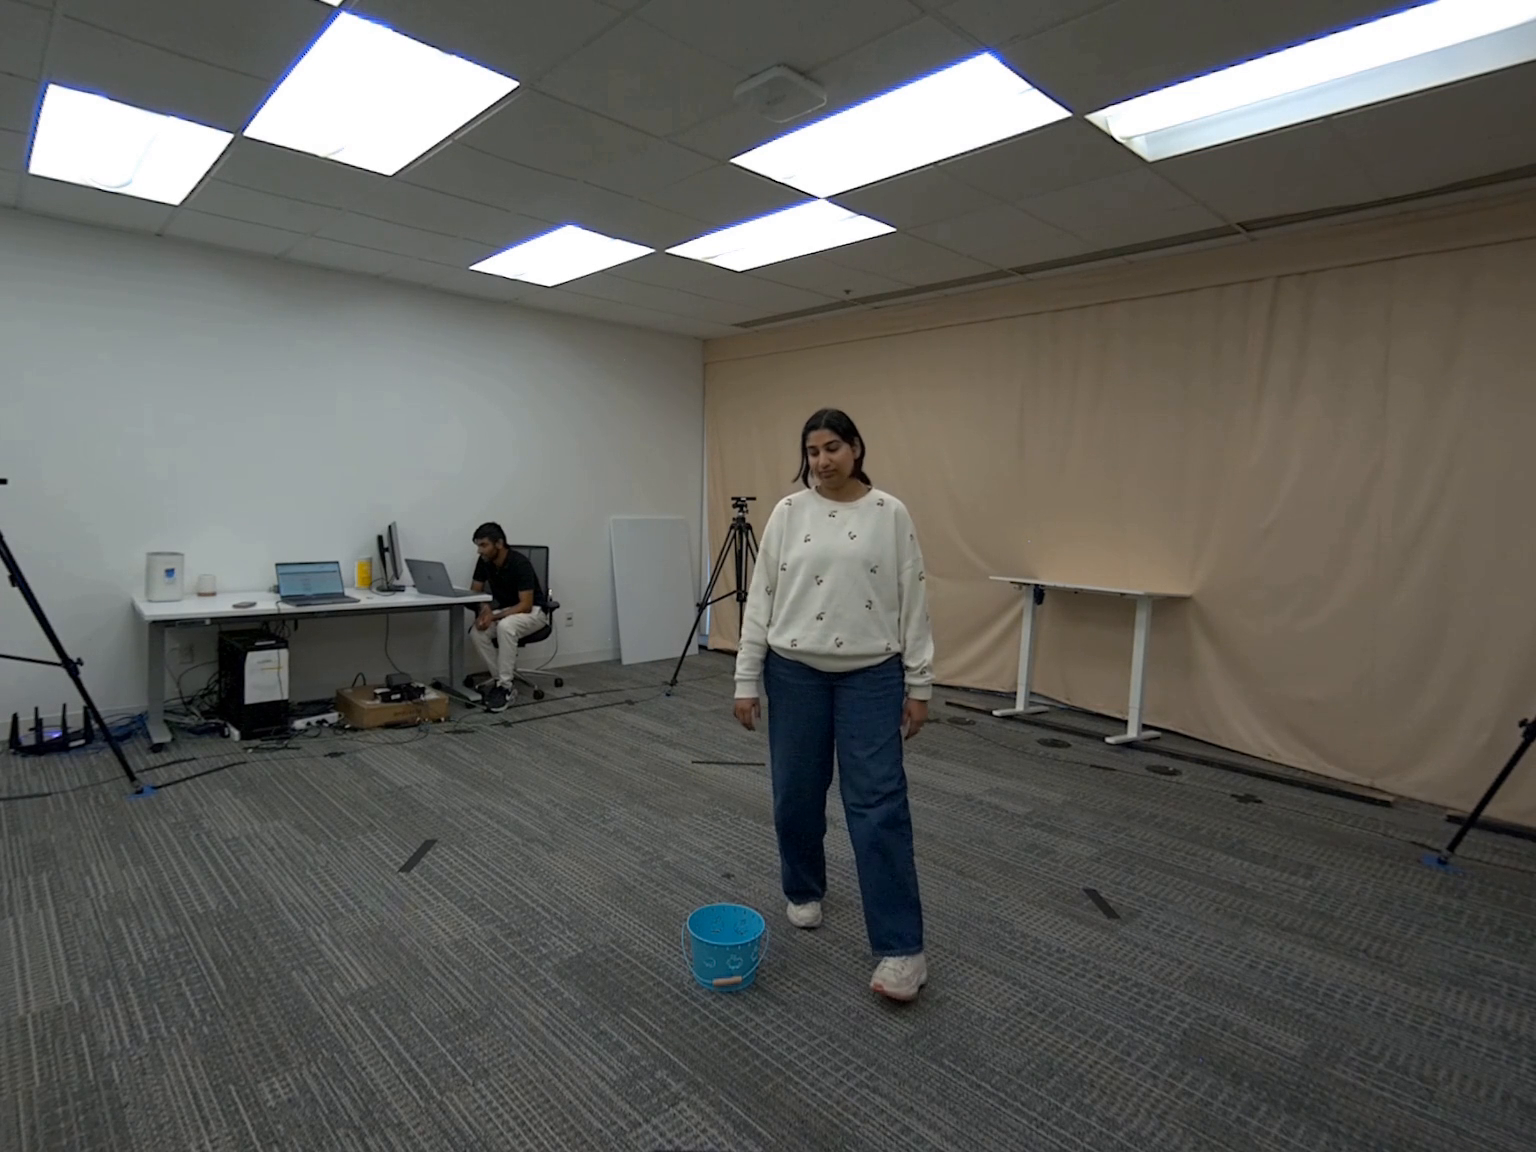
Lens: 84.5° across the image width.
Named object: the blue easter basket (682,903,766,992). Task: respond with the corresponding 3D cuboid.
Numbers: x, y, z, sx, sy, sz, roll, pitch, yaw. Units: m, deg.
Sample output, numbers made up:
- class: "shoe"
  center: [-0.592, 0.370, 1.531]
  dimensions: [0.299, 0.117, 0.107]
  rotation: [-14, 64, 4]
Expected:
- class: "blue easter basket"
  center: [-0.136, 1.079, 2.469]
  dimensions: [0.243, 0.155, 0.244]
  rotation: [1, 5, -1]
